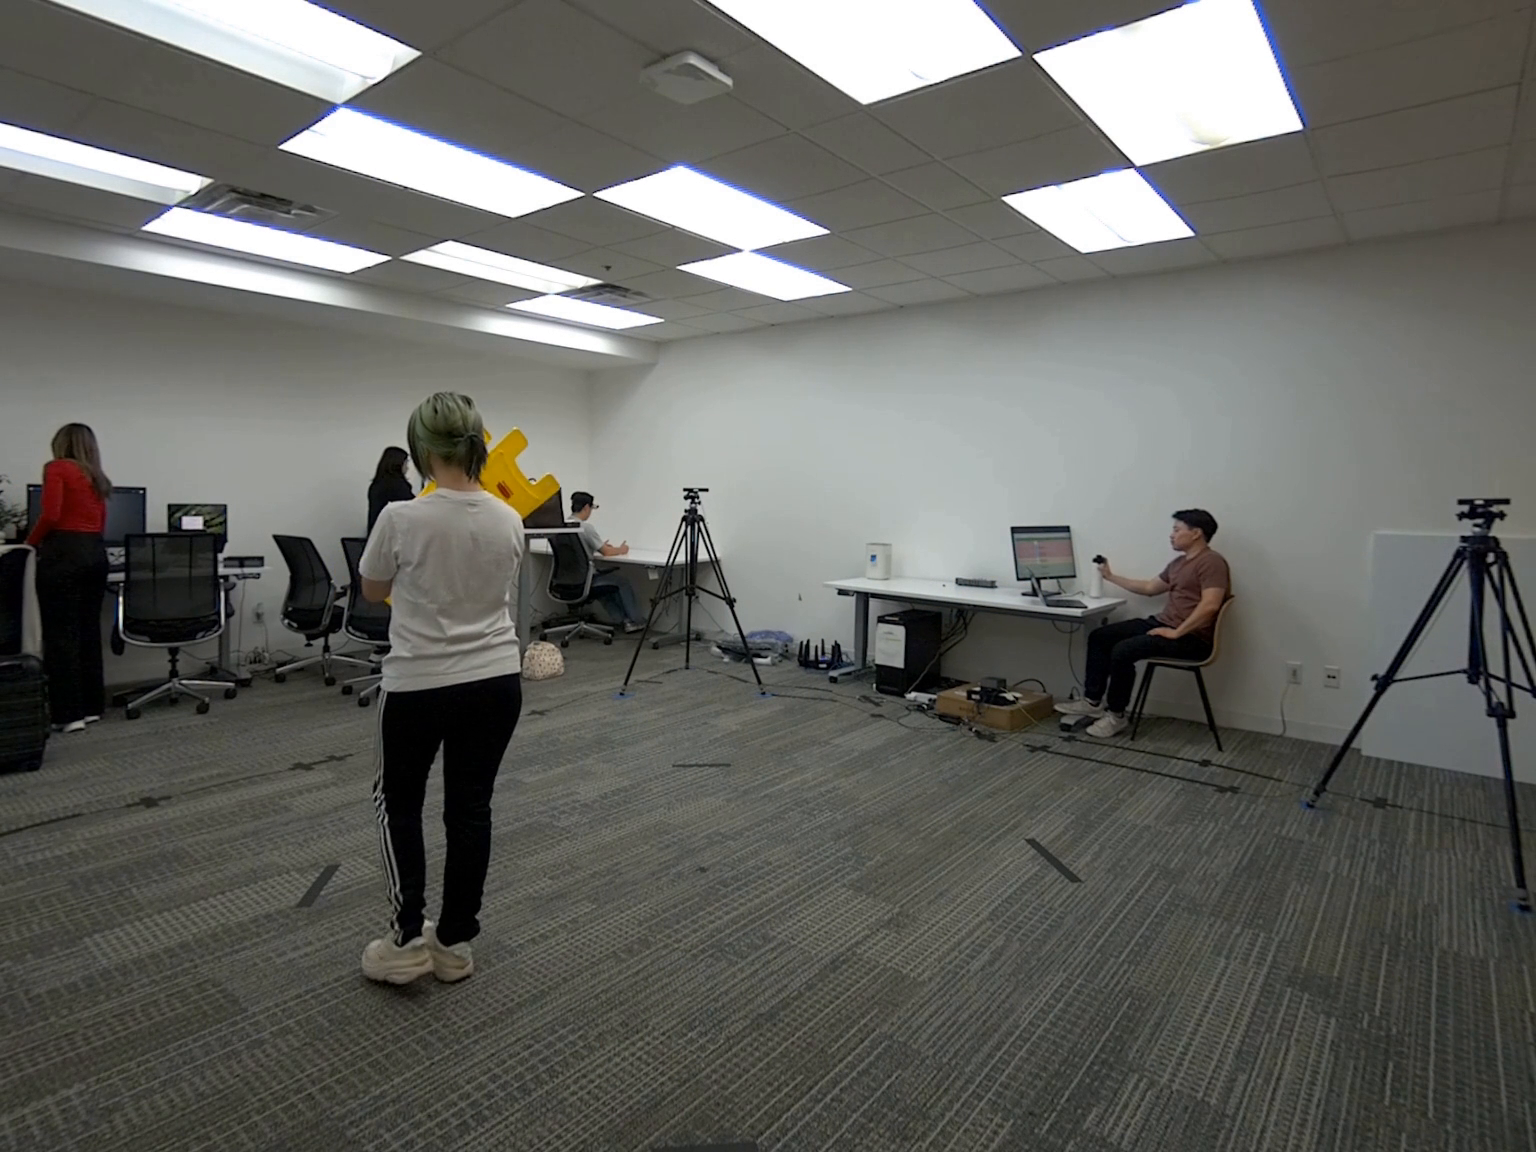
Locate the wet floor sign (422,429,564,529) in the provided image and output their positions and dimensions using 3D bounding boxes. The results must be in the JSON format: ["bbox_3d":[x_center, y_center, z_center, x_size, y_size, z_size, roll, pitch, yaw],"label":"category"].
[{"bbox_3d":[-1.031,-0.172,2.768,0.301,0.647,0.271,14,-33,42],"label":"wet floor sign"}]
